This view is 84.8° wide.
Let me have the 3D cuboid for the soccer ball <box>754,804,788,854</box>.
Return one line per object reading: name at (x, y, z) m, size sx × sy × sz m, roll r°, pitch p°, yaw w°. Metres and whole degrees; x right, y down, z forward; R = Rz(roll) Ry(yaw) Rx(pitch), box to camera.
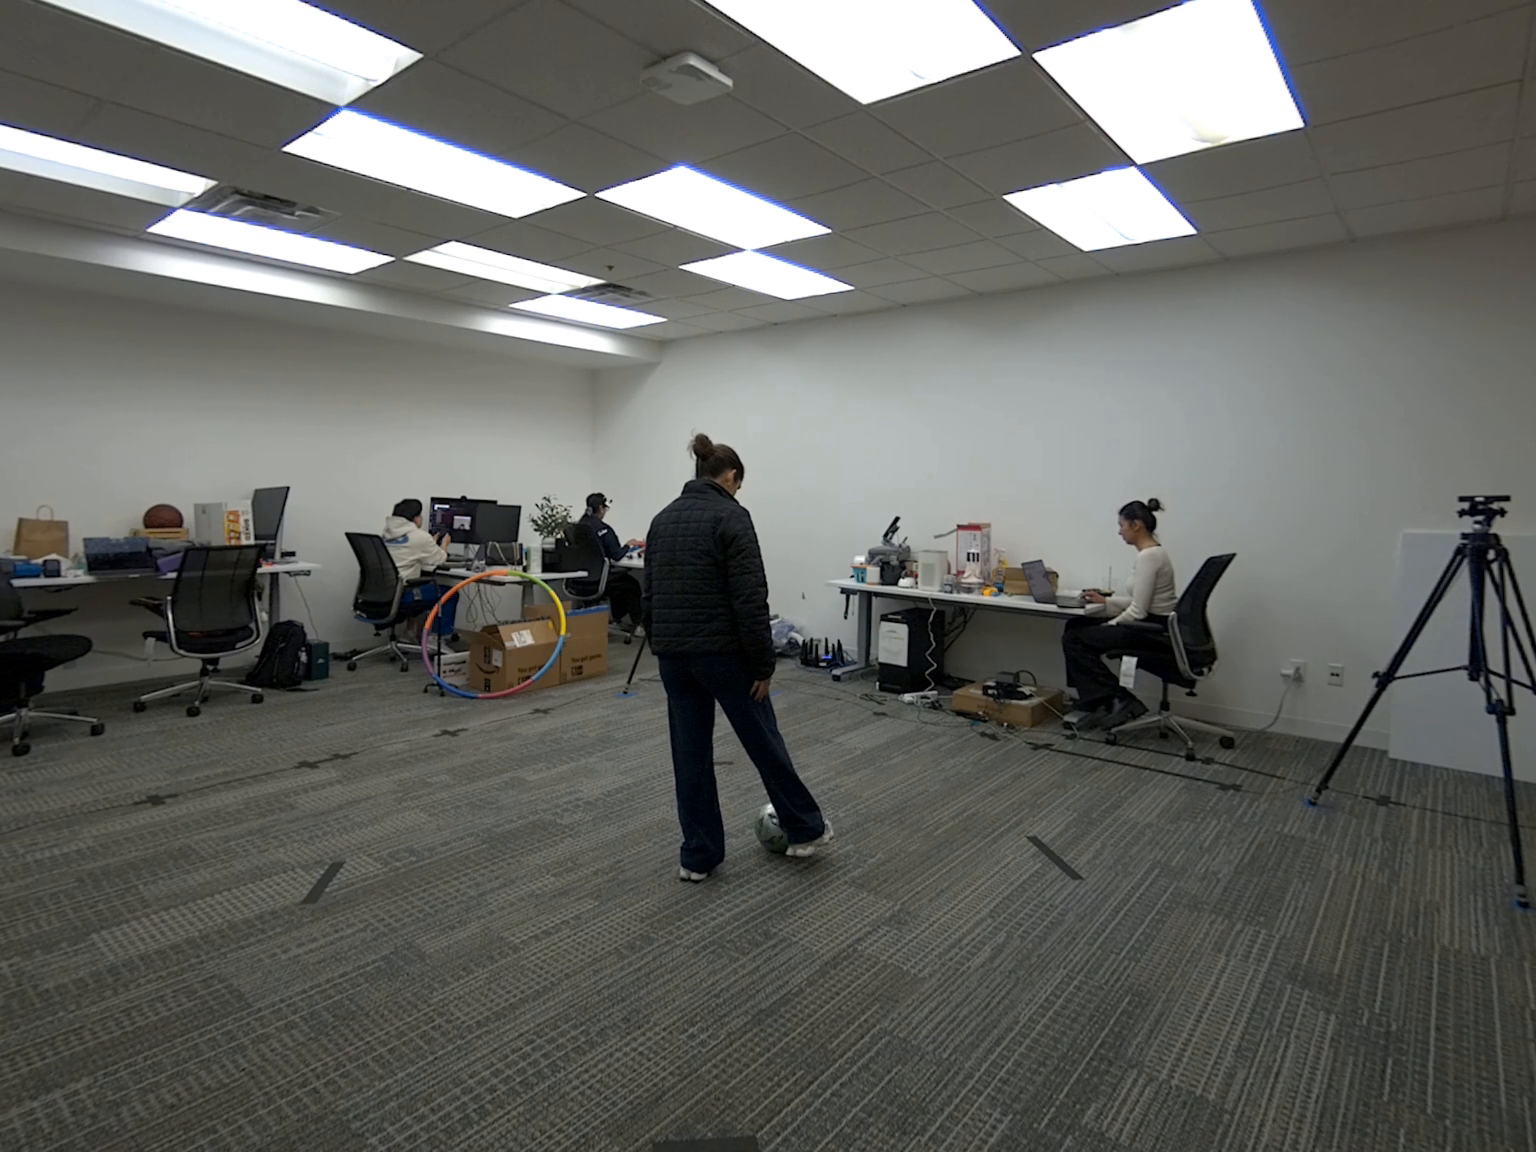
soccer ball at (0.028, 0.957, 3.274) m, size 0.187 × 0.187 × 0.188 m, roll 1°, pitch 4°, yaw -2°
